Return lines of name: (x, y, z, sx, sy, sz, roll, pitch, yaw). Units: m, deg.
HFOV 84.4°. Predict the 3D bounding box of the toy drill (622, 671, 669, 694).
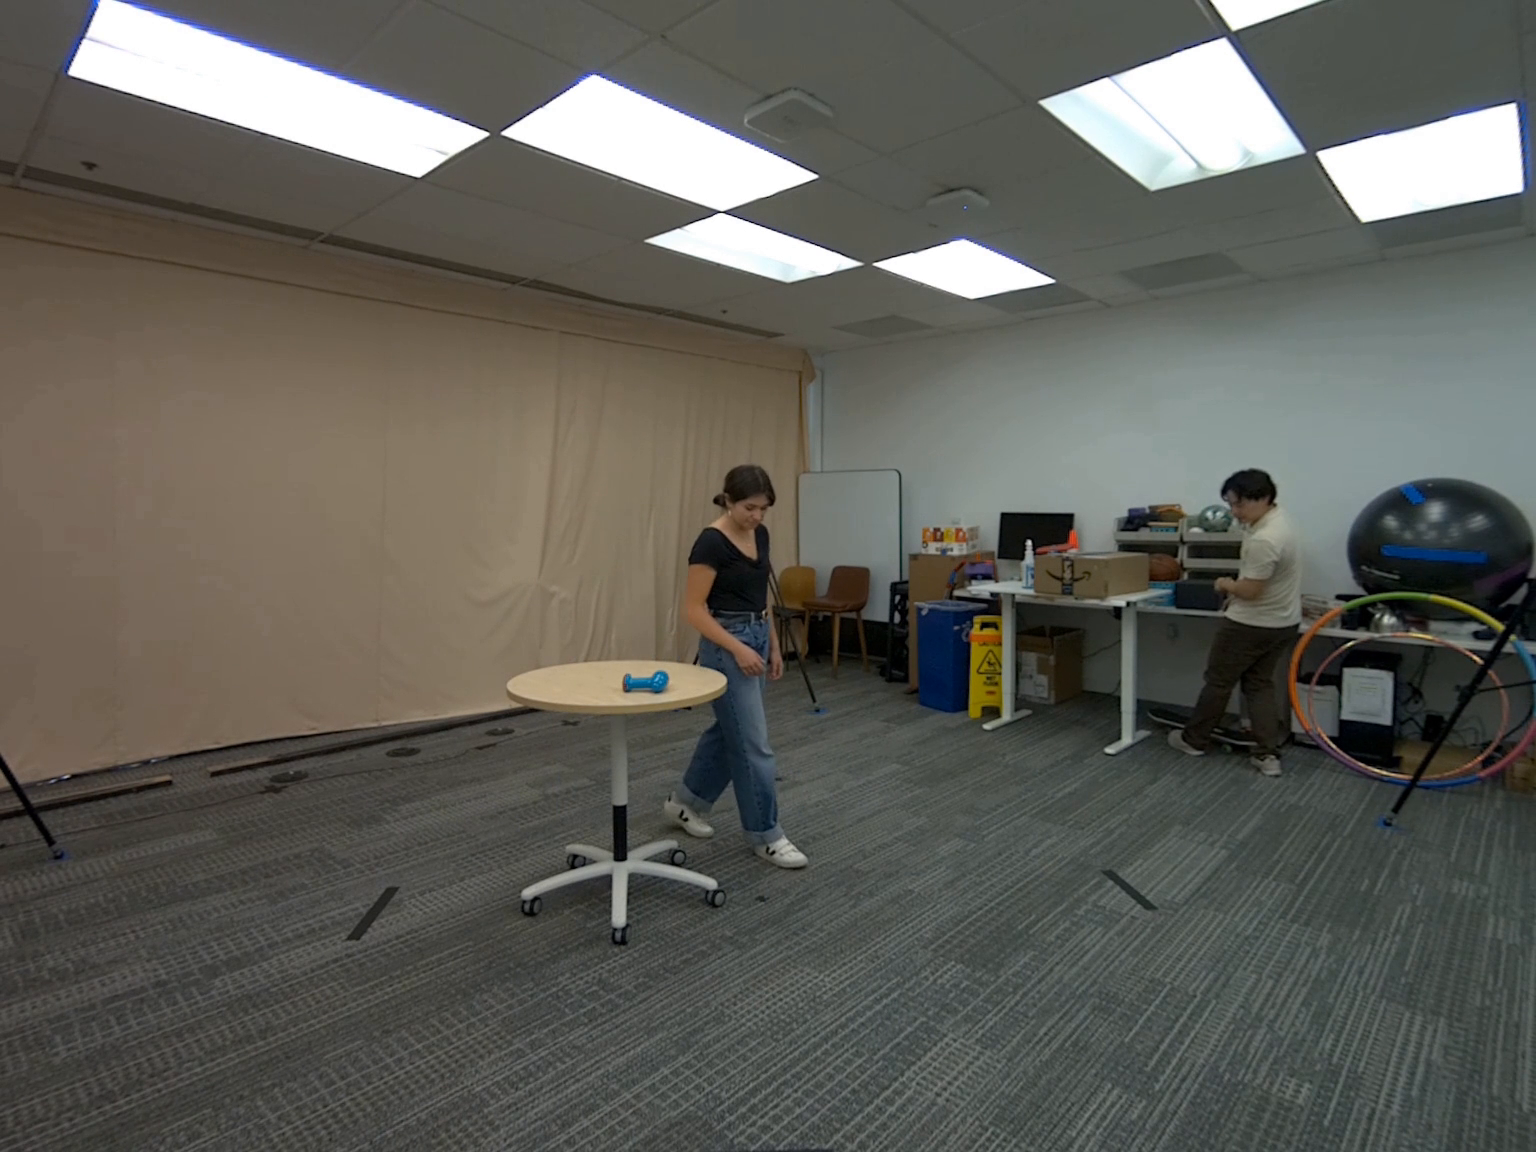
toy drill: (-0.388, 0.347, 2.819, 0.147, 0.061, 0.169, 0, 12, 8)
